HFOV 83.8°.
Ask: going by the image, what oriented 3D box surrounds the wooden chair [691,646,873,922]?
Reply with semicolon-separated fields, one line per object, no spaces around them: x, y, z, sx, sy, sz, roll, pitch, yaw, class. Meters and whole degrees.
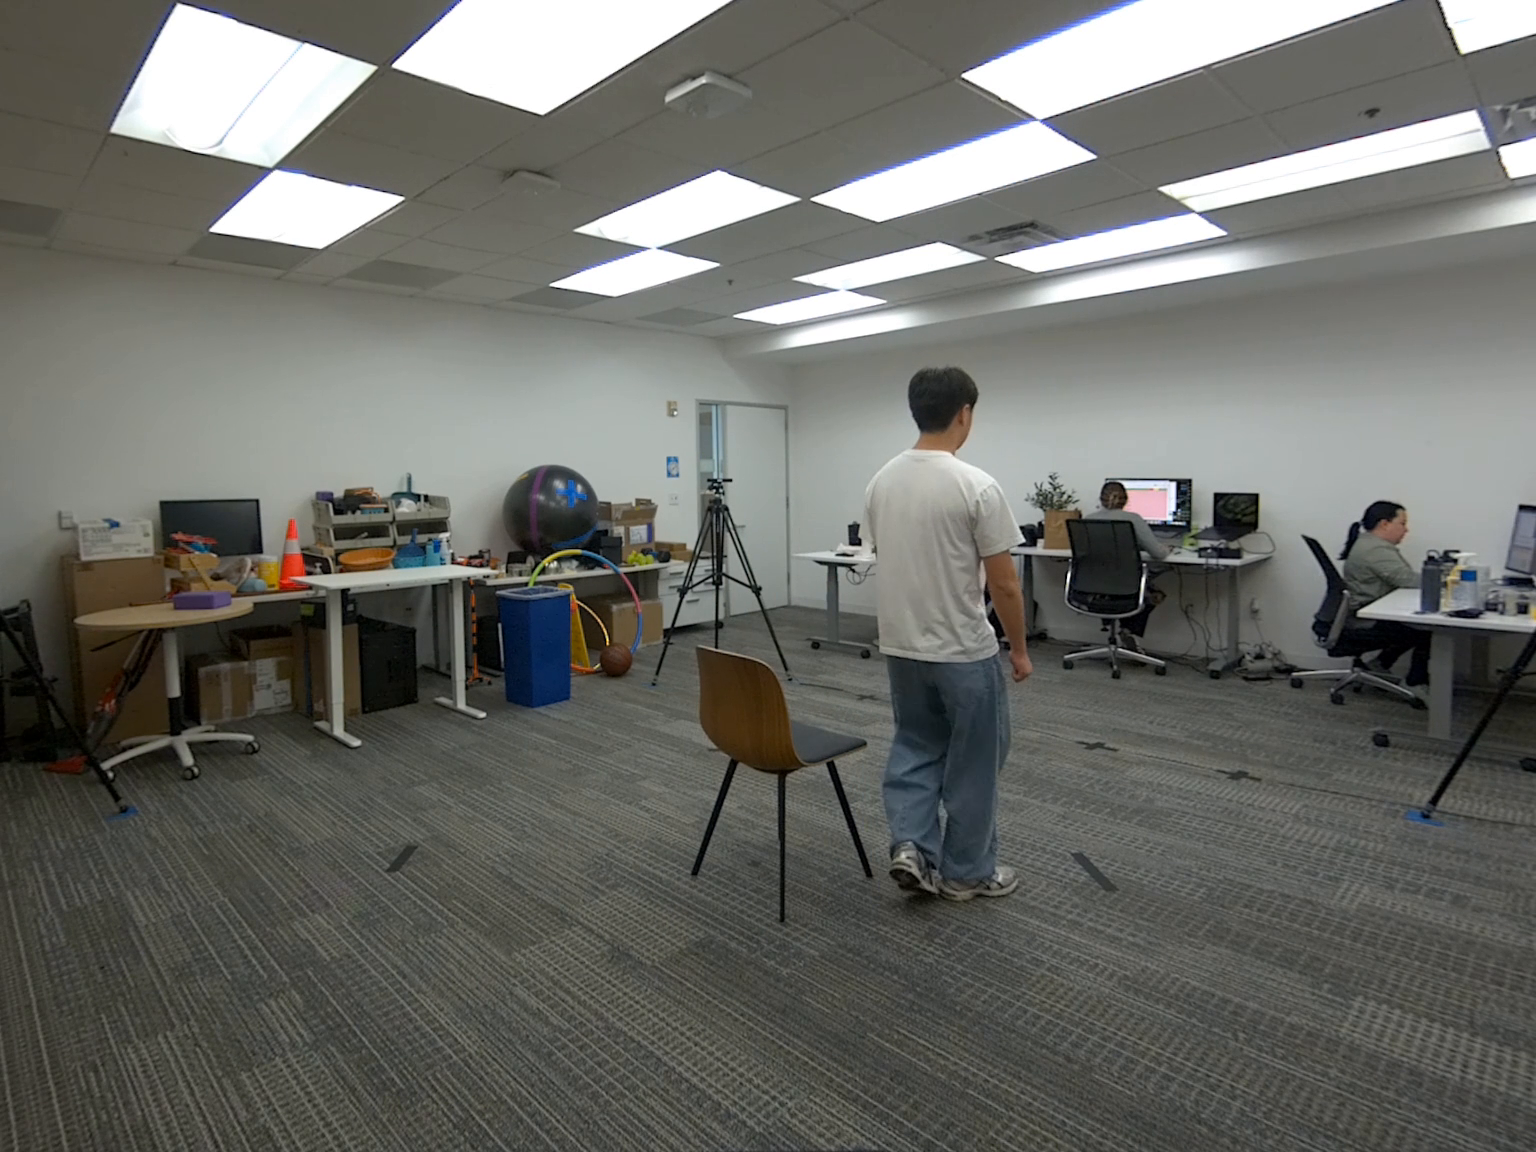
0.048;0.630;2.971;0.511;0.871;0.493;-10;10;-43;wooden chair
